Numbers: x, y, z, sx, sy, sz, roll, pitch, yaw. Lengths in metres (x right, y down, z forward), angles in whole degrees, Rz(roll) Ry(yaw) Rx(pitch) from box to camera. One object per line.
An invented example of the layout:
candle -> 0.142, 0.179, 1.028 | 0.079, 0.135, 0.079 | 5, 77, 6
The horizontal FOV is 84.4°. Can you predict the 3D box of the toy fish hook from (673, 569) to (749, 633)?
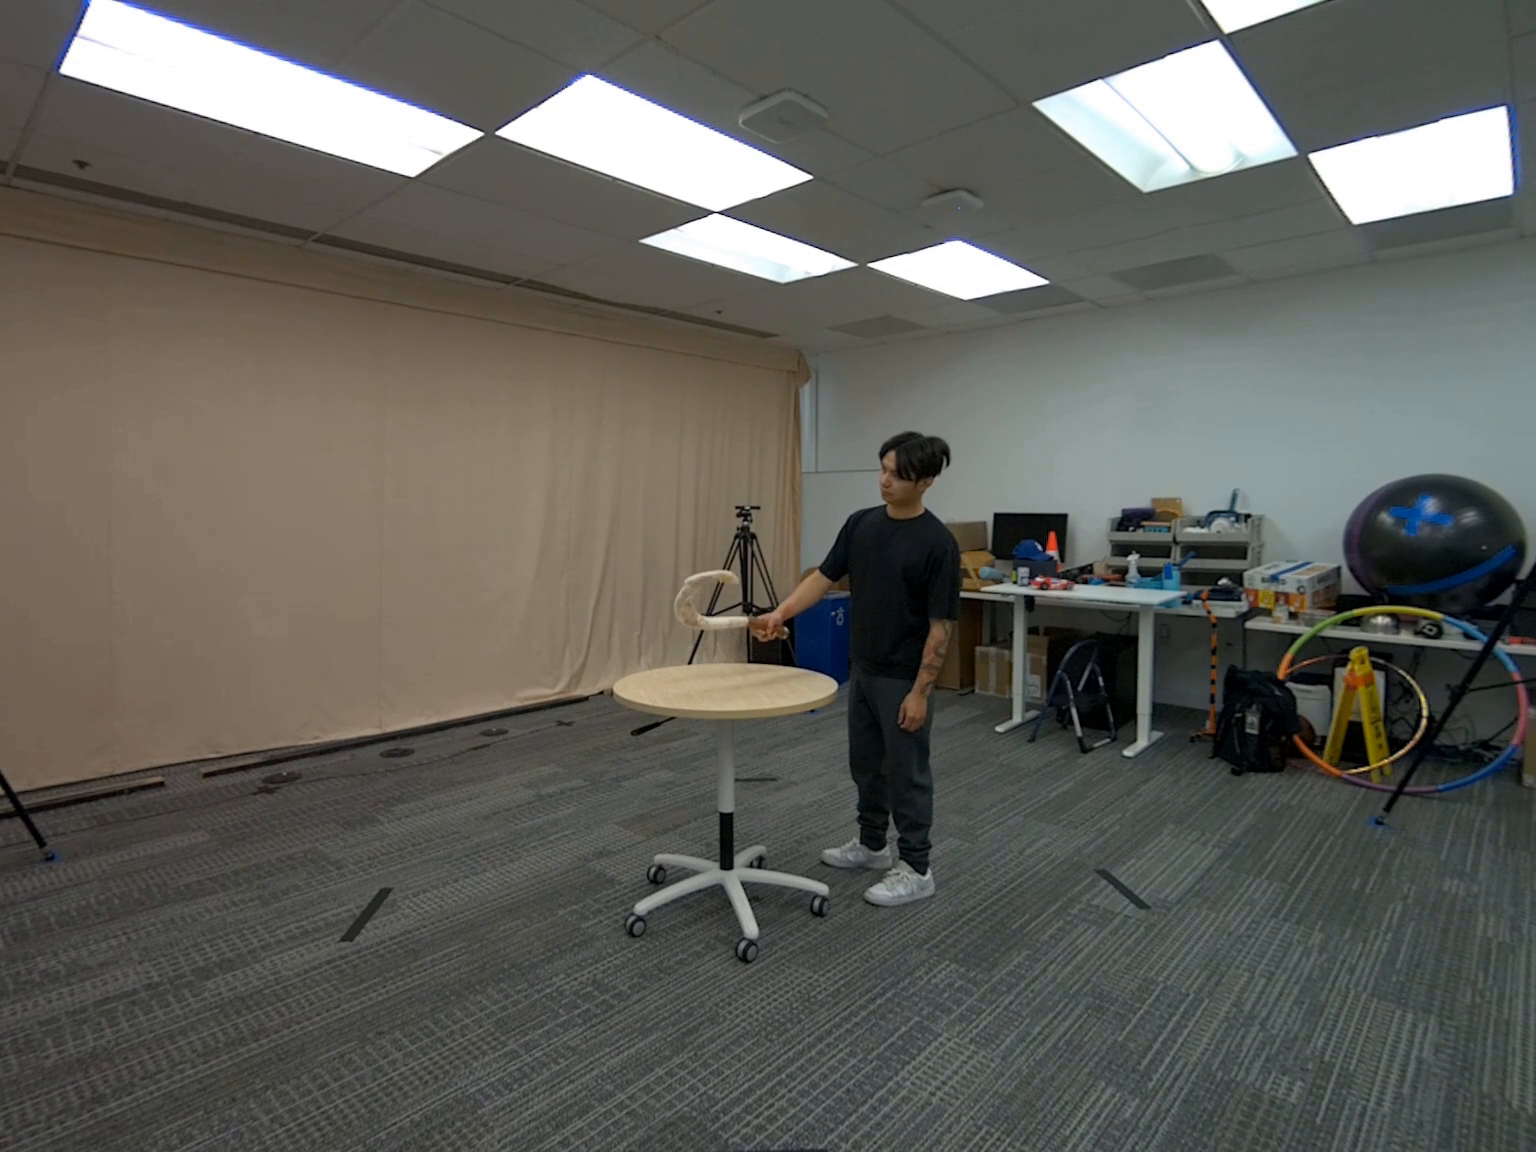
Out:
toy fish hook -> -0.081, 0.107, 2.863 | 0.490, 0.225, 0.050 | 17, 25, -34
